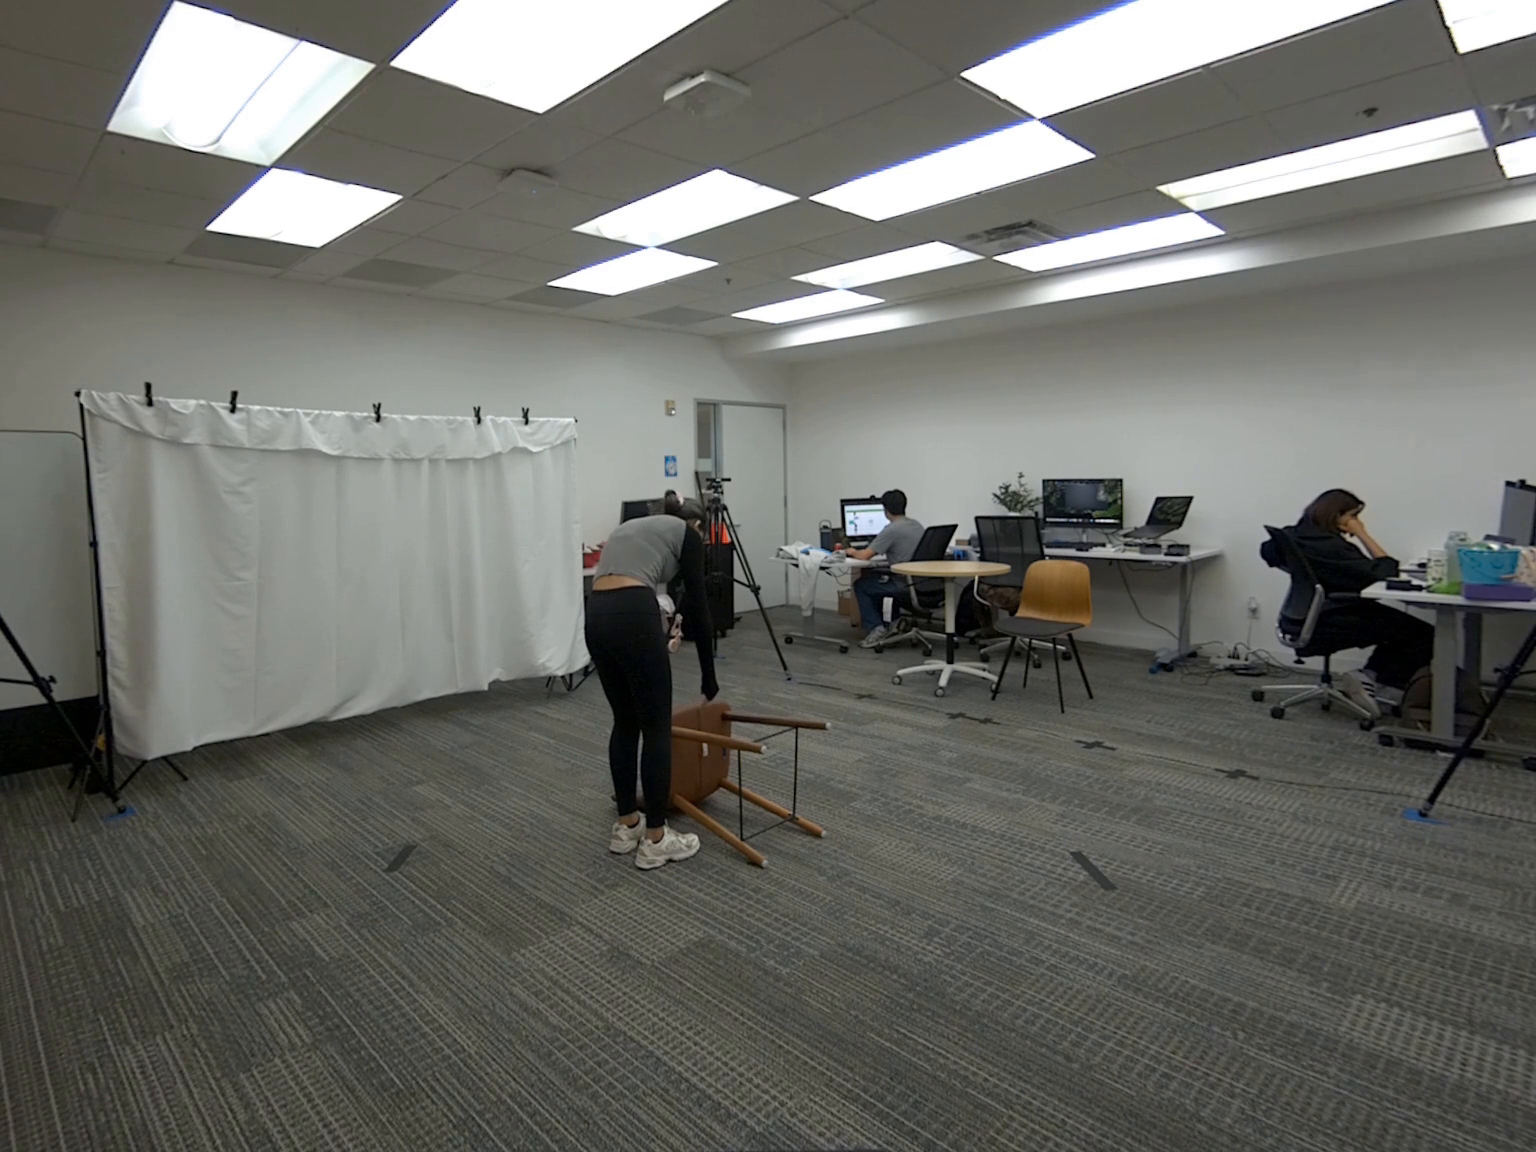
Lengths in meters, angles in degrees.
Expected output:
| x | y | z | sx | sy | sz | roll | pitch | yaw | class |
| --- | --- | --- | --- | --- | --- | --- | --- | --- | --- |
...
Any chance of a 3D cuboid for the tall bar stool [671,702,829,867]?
| x | y | z | sx | sy | sz | roll | pitch | yaw | class |
| --- | --- | --- | --- | --- | --- | --- | --- | --- | --- |
| -0.219 | 0.775 | 3.475 | 0.917 | 0.465 | 0.445 | 4 | 8 | 43 | tall bar stool |
